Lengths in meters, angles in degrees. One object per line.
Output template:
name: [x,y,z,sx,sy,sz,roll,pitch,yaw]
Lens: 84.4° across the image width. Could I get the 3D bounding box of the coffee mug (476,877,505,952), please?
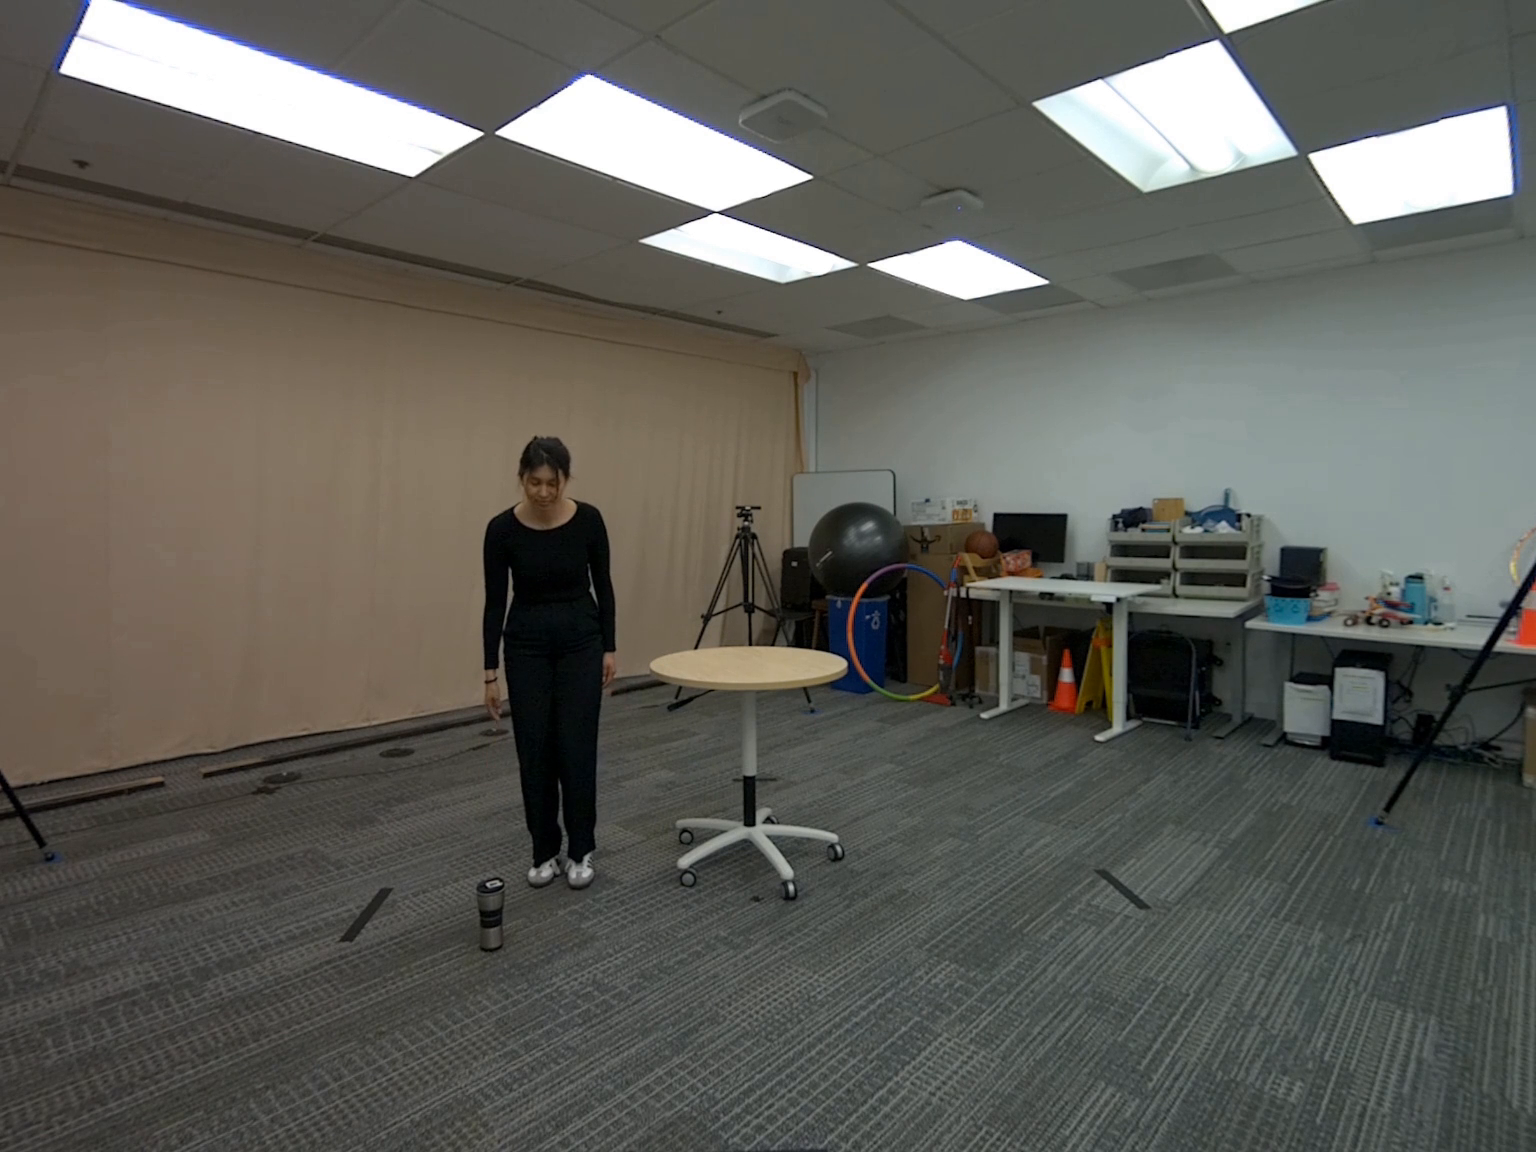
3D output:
coffee mug: [-0.865,1.071,2.680,0.118,0.202,0.090,-10,4,-42]
